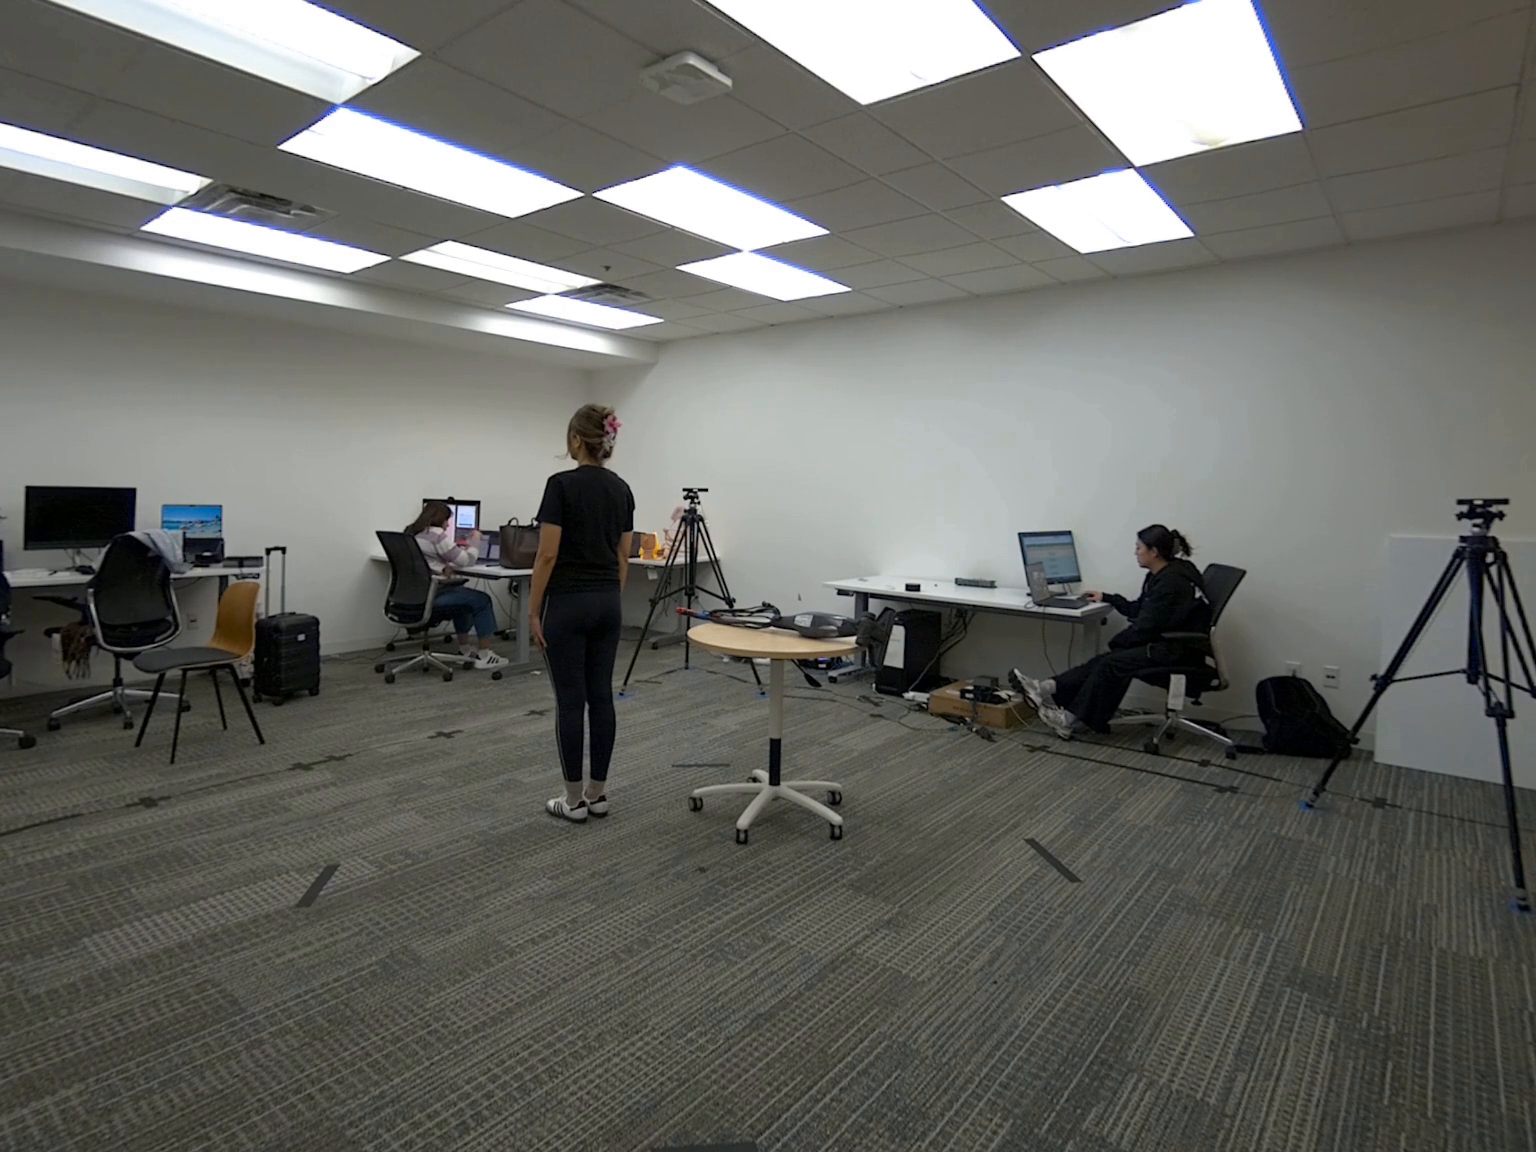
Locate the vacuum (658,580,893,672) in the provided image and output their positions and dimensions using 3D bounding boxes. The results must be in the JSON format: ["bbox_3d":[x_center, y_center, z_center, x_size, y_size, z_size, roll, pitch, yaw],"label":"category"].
[{"bbox_3d":[0.000,0.200,3.654,1.083,0.255,0.138,5,-21,36],"label":"vacuum"}]
